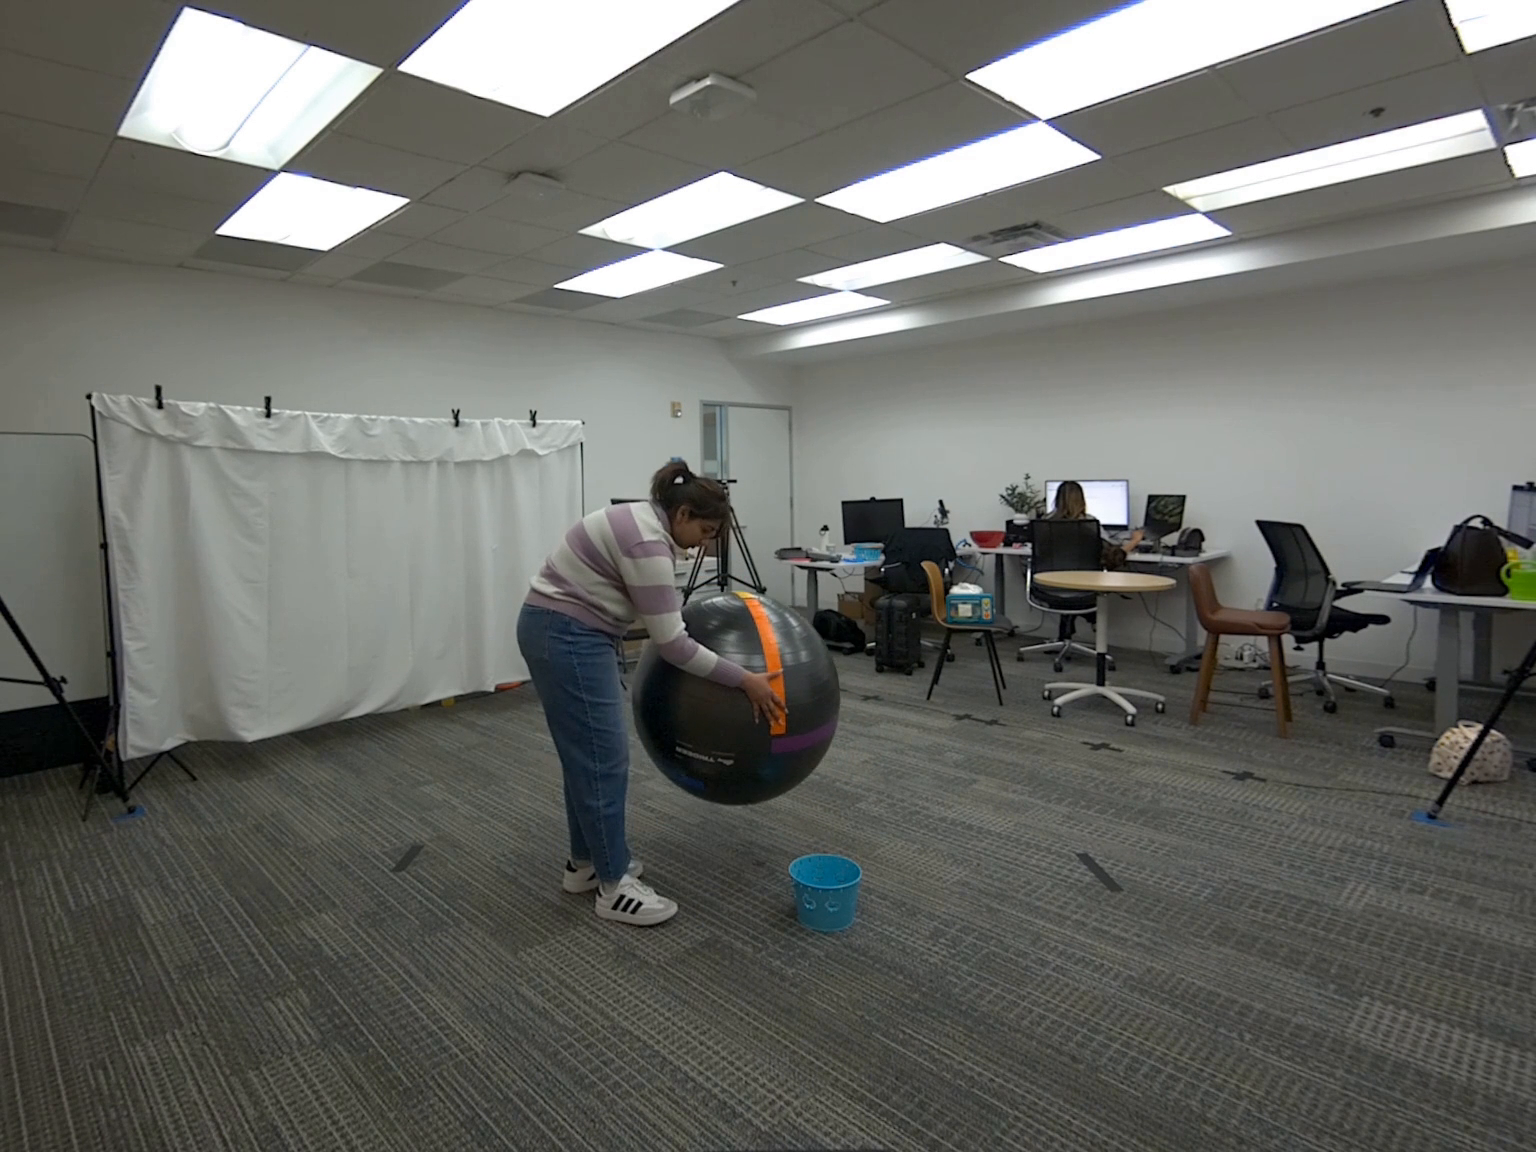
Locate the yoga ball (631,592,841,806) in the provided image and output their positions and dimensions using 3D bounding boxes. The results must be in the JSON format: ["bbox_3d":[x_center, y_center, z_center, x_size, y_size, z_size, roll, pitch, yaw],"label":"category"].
[{"bbox_3d":[-0.107,0.444,3.117,0.757,0.755,0.762,-1,5,-2],"label":"yoga ball"}]
